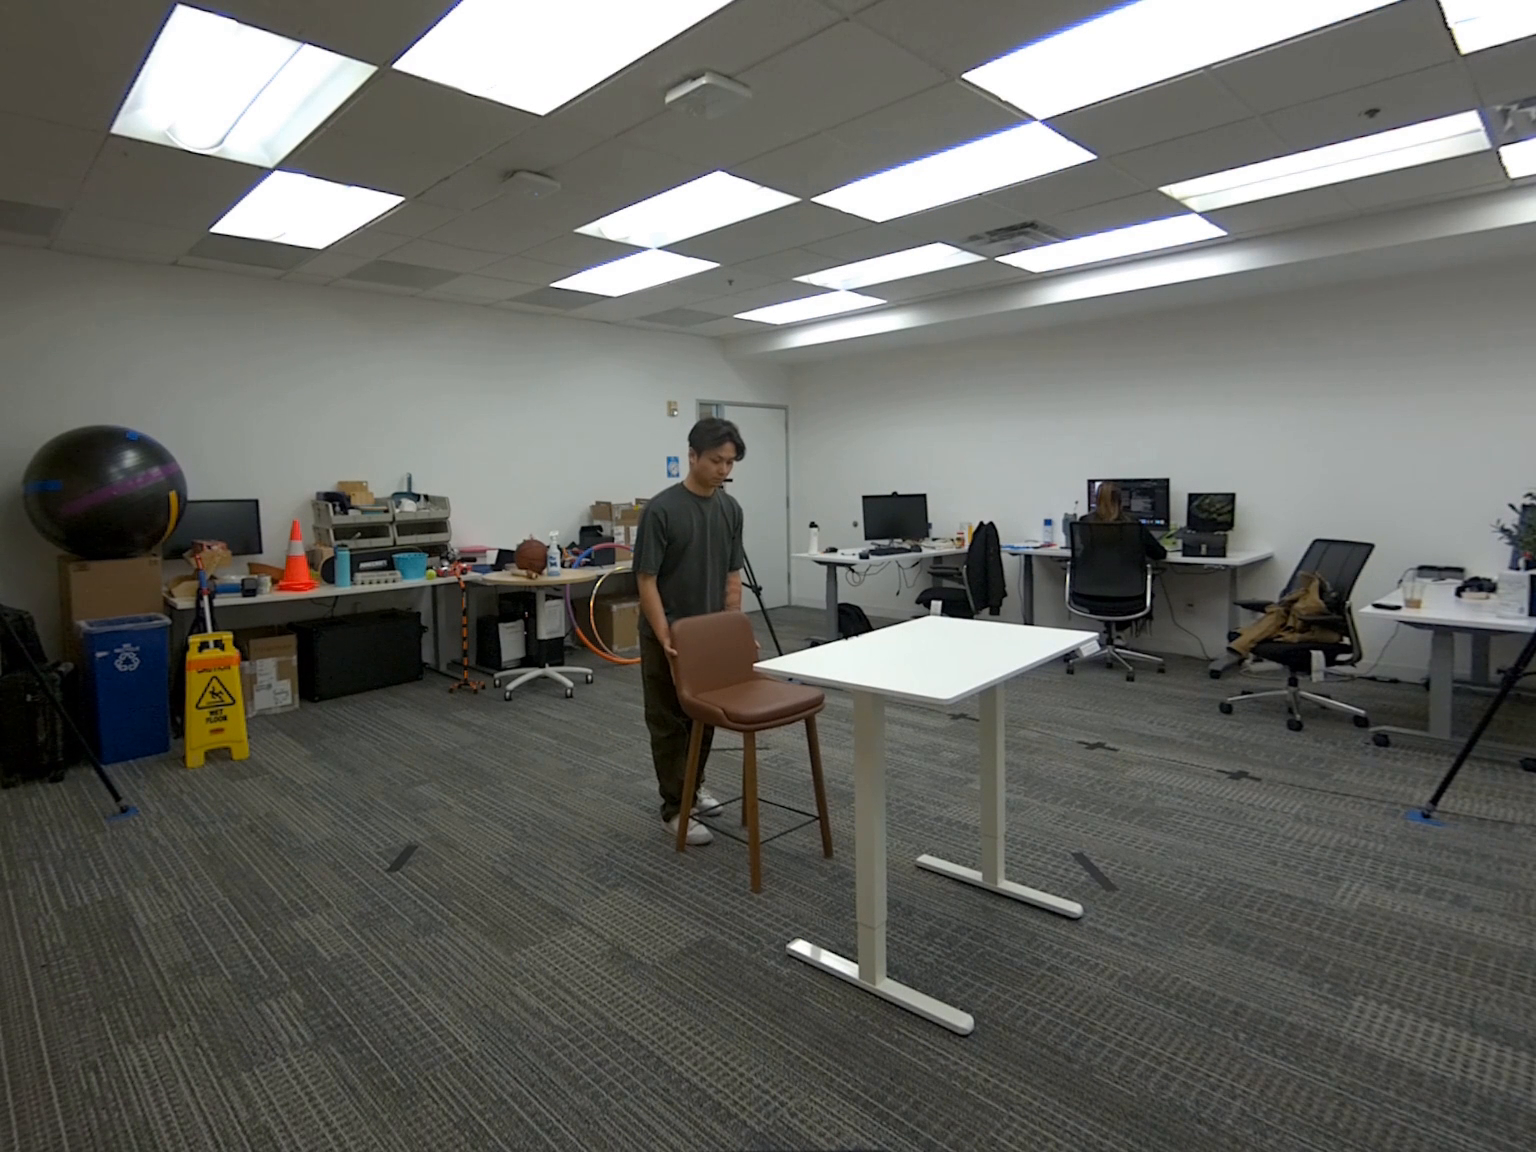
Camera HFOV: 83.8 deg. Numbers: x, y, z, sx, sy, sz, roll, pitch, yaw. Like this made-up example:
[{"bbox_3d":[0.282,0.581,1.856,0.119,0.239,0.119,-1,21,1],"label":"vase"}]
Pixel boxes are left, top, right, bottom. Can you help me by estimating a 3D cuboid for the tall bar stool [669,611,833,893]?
[{"bbox_3d":[-0.068,0.605,3.158,0.444,0.888,0.481,-5,4,-45],"label":"tall bar stool"}]
